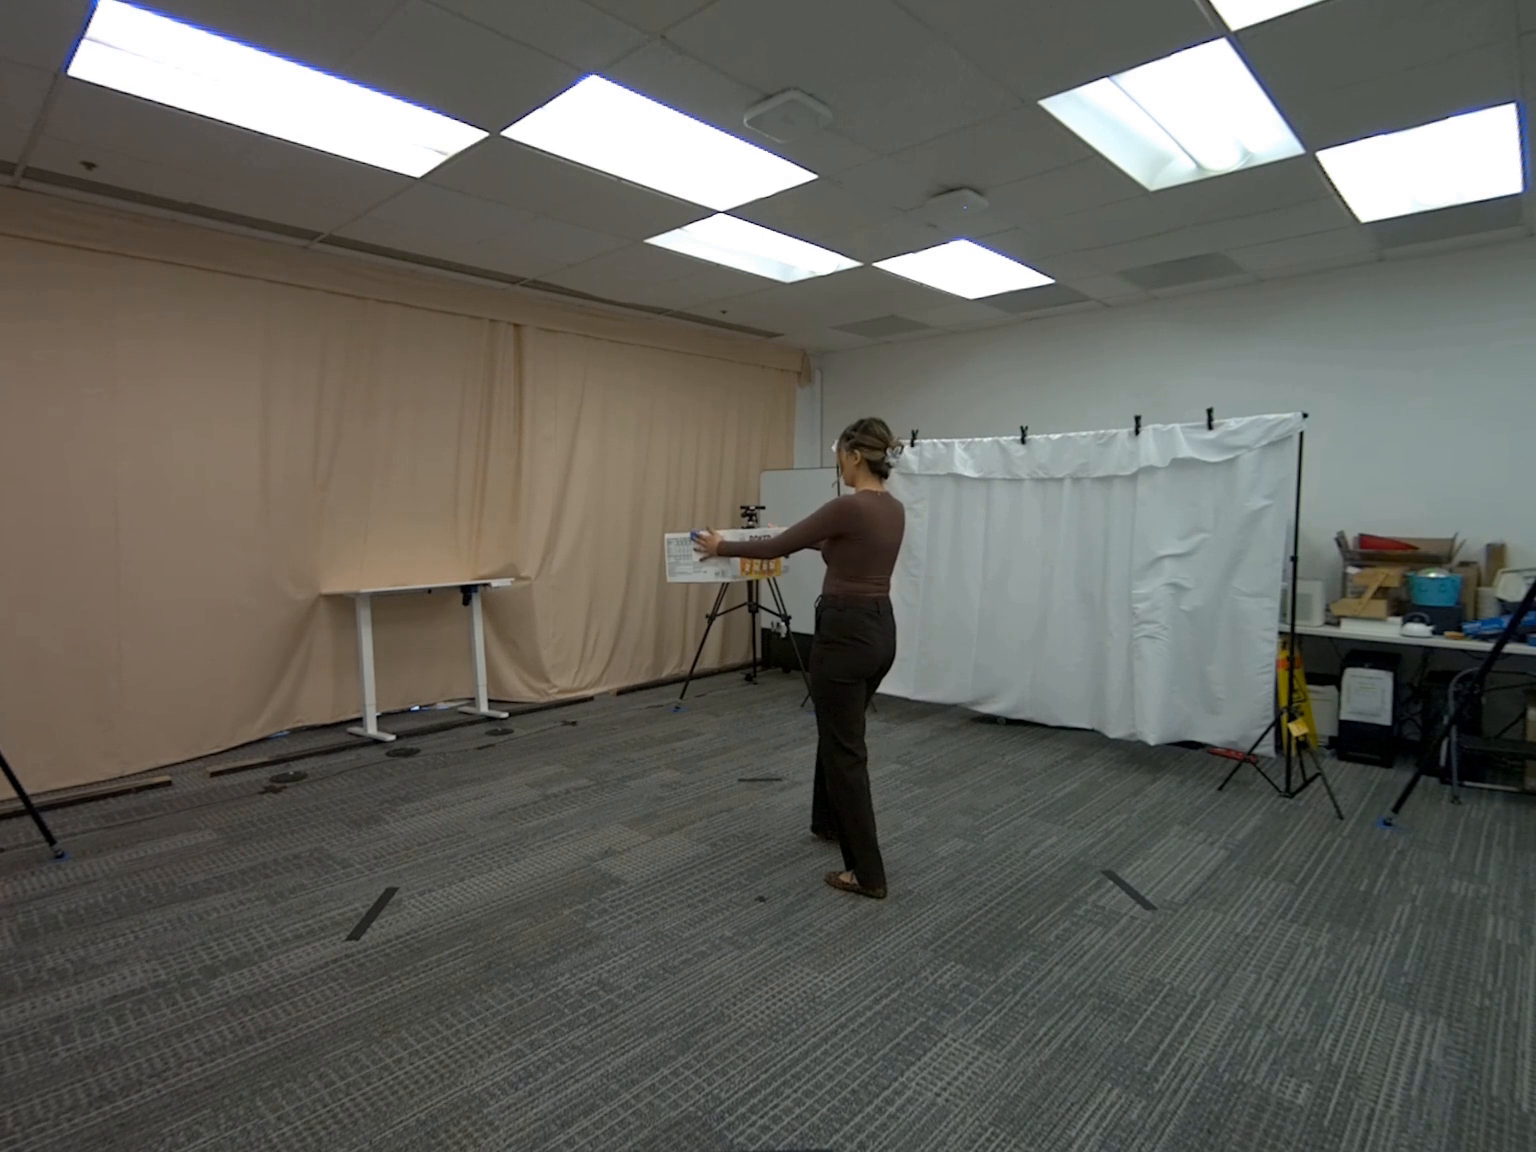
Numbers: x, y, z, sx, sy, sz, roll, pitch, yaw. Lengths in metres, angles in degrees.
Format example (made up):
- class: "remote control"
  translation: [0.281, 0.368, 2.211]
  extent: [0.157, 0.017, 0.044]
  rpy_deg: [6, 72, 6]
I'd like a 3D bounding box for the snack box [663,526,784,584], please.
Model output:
- class: "snack box"
  translation: [-0.162, -0.084, 3.482]
  extent: [0.351, 0.205, 0.393]
  rpy_deg: [0, 4, 37]
